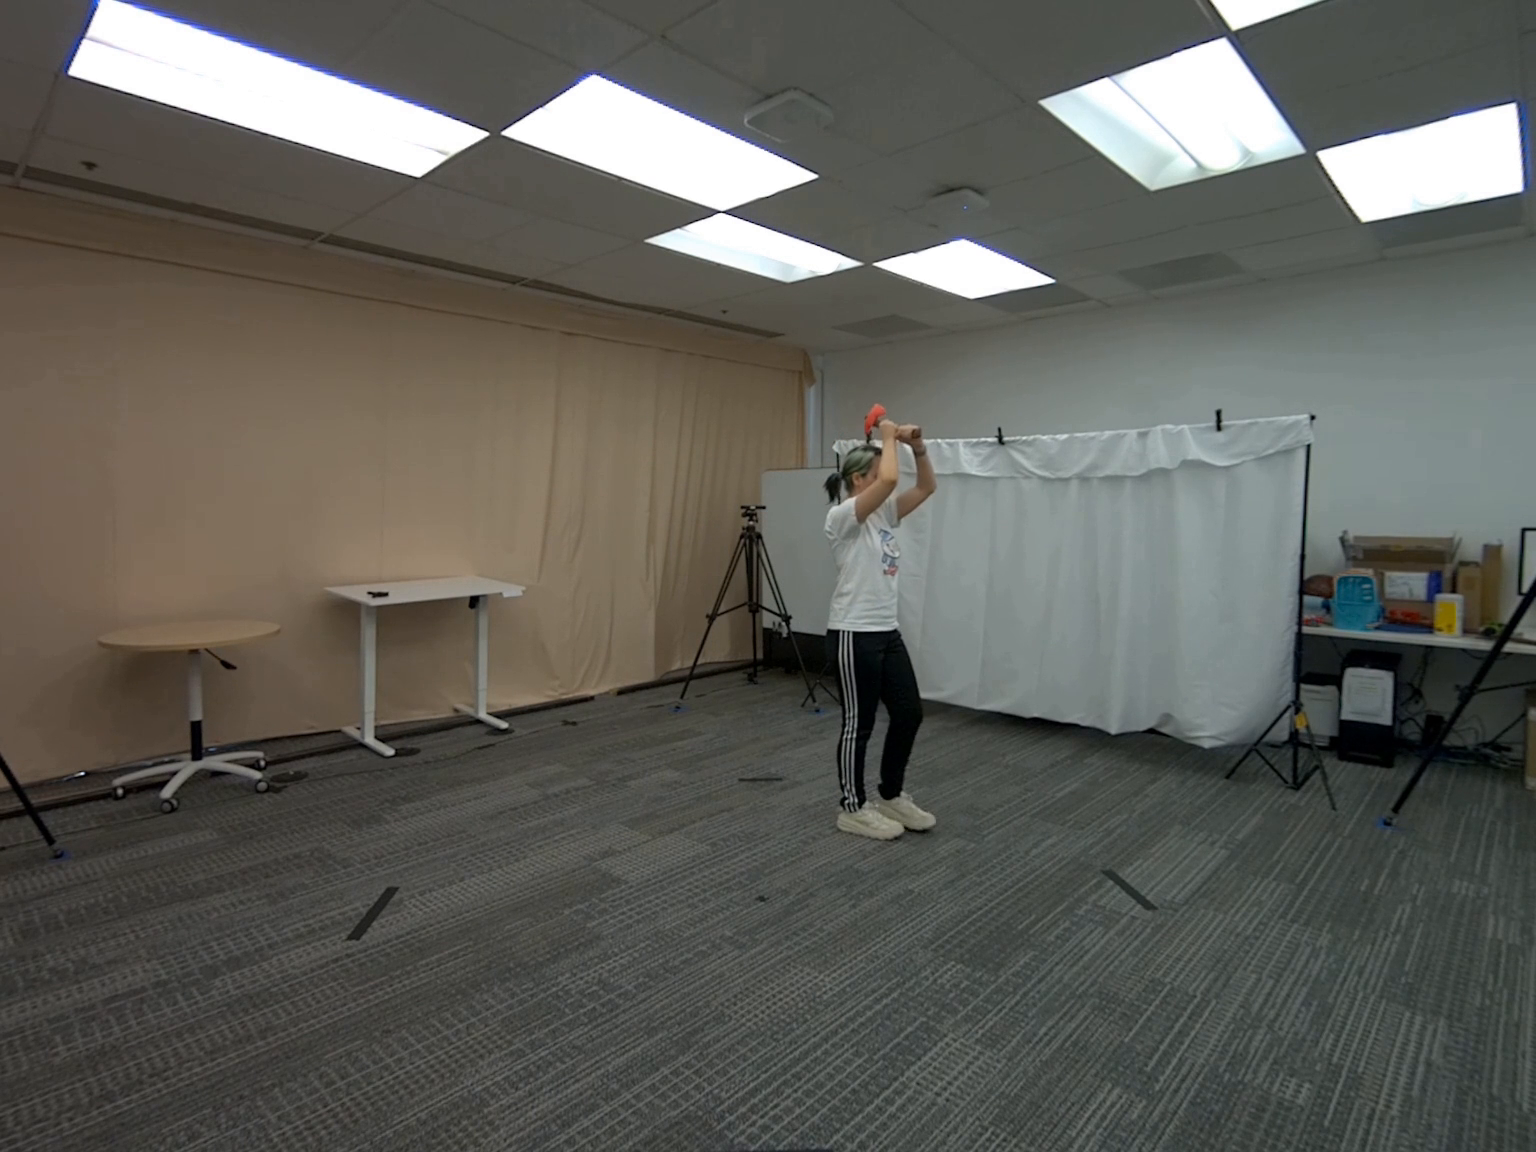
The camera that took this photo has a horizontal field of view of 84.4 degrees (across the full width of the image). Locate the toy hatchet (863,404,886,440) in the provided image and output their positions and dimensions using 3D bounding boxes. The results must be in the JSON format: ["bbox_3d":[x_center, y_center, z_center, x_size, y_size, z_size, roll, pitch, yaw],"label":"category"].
[{"bbox_3d":[0.516,-0.636,3.447,0.279,0.131,0.028,10,4,39],"label":"toy hatchet"}]
